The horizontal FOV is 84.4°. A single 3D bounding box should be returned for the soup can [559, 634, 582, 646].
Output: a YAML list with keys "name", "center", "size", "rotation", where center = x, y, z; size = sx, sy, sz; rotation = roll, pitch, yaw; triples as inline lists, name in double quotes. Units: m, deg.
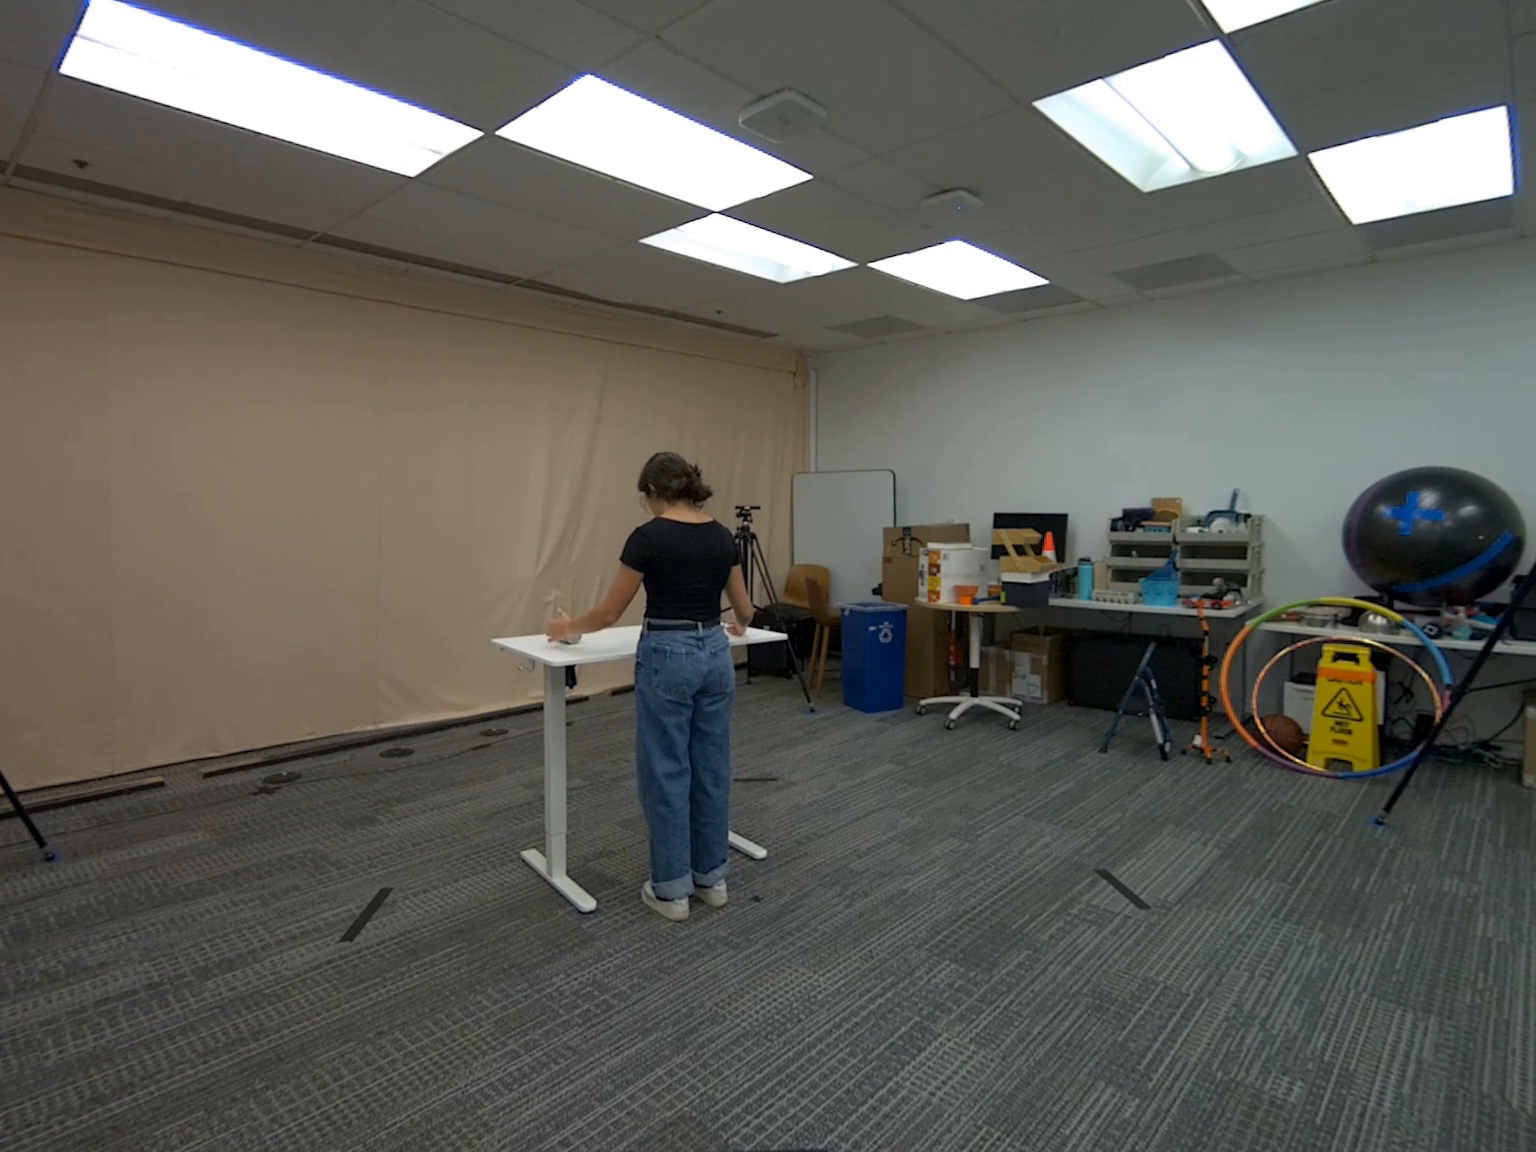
- name: "soup can"
  center: [-0.758, 0.218, 3.178]
  size: [0.065, 0.067, 0.125]
  rotation: [-3, 7, -36]
